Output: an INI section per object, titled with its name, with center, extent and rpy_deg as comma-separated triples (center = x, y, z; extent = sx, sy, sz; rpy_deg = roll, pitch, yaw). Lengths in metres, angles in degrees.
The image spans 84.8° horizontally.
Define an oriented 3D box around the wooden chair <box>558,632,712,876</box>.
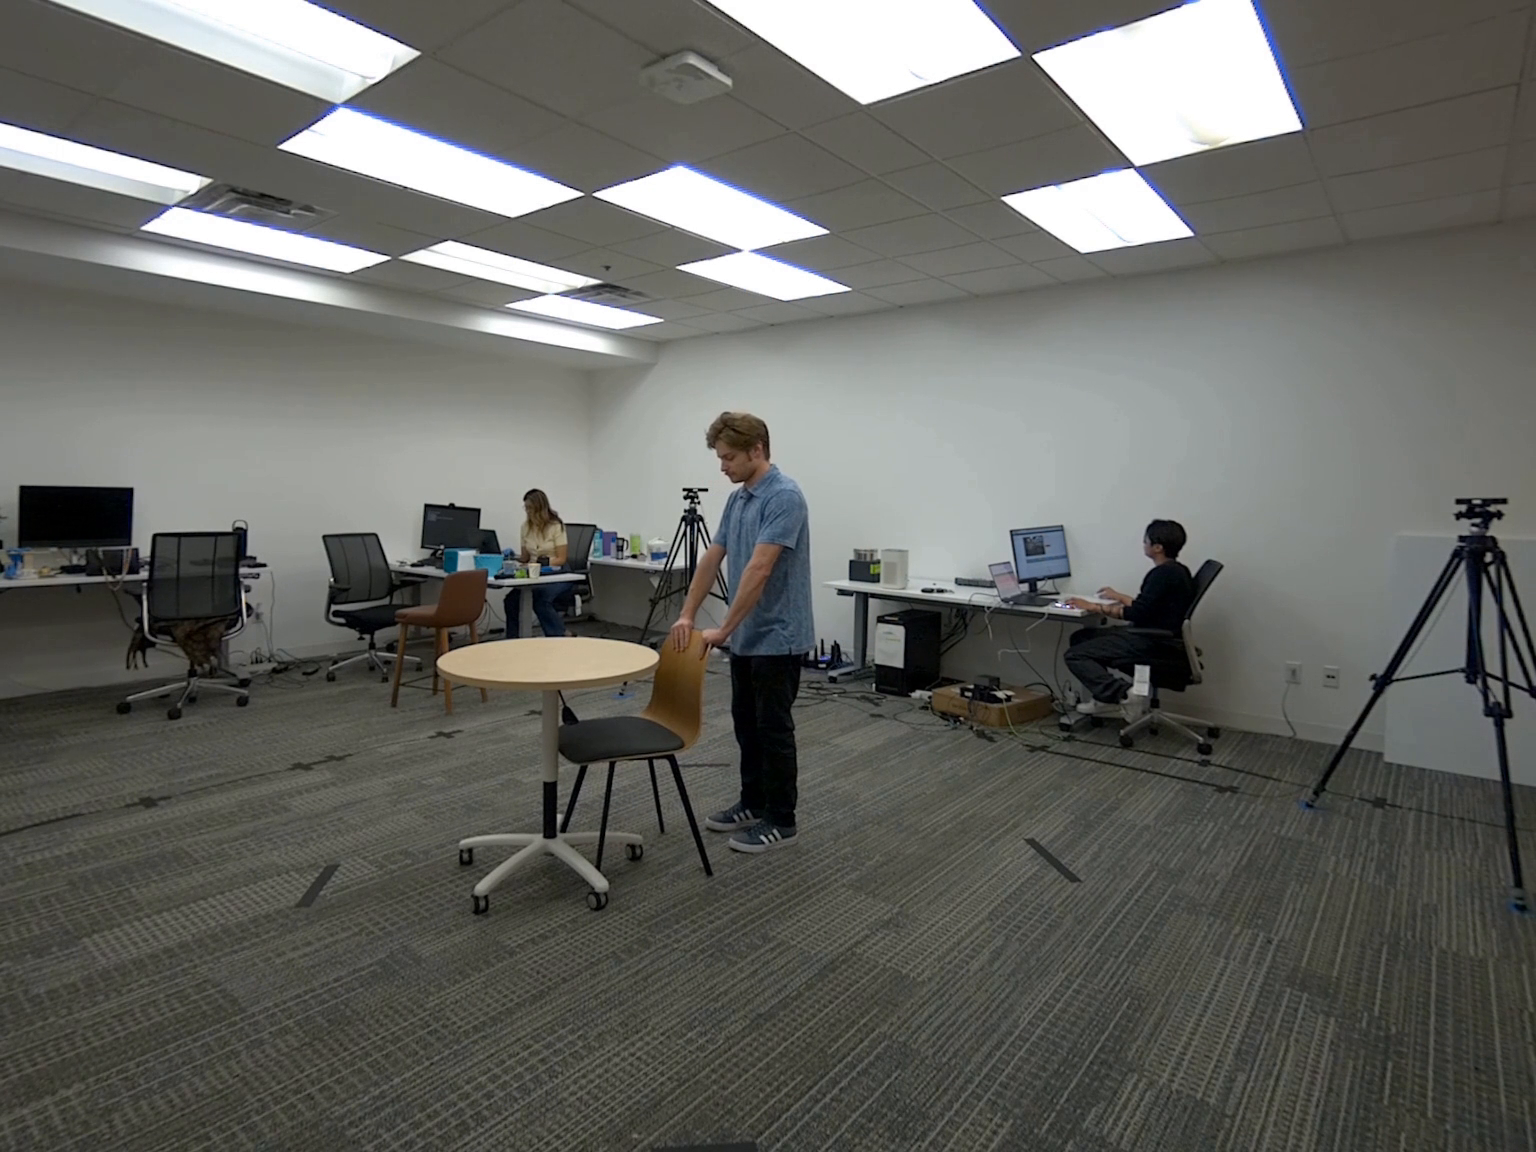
[wooden chair]
center = -0.513, 0.635, 3.123
extent = 0.509, 0.876, 0.492
rpy_deg = 3, 2, -29
